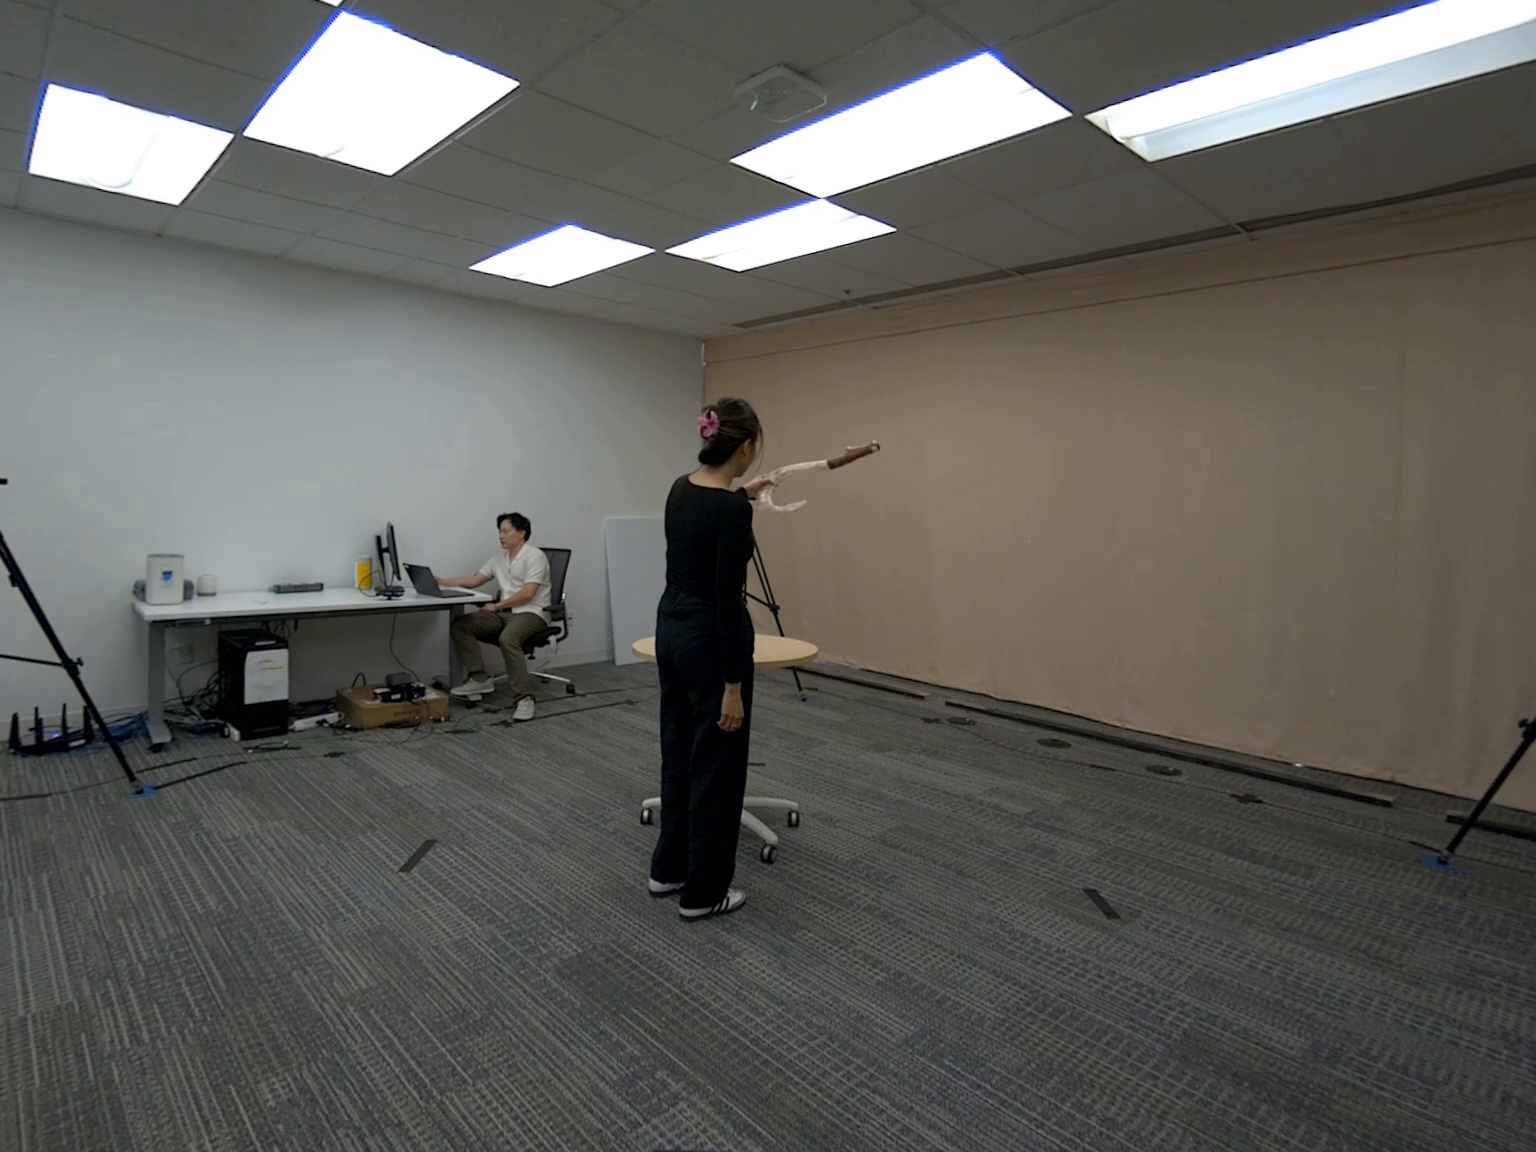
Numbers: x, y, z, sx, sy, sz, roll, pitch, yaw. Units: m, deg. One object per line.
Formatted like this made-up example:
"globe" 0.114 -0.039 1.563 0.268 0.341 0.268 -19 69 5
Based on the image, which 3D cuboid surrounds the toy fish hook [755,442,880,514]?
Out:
"toy fish hook" 0.177 -0.356 3.159 0.511 0.230 0.047 -19 -33 18
